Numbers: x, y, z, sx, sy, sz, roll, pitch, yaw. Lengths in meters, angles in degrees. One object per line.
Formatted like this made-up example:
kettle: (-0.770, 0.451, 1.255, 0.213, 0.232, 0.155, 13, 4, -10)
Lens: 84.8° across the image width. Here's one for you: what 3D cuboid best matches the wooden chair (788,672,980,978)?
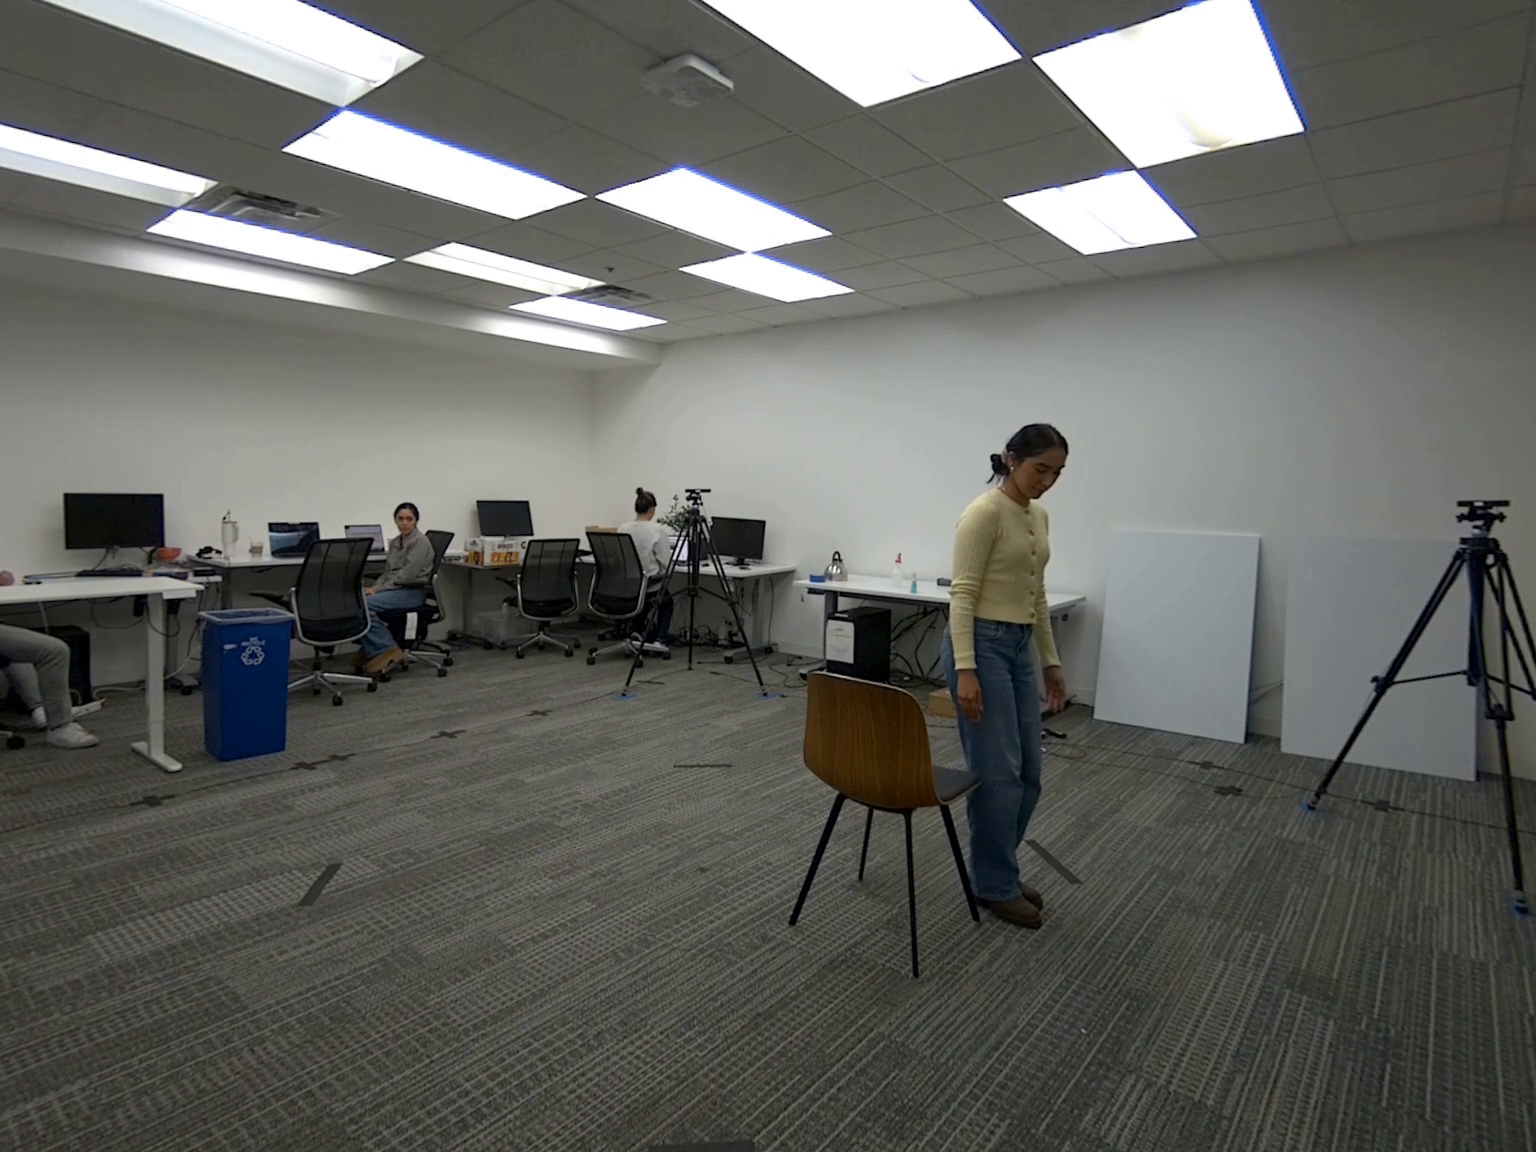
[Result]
wooden chair: (0.383, 0.695, 2.739, 0.494, 0.872, 0.509, 3, 8, 37)
